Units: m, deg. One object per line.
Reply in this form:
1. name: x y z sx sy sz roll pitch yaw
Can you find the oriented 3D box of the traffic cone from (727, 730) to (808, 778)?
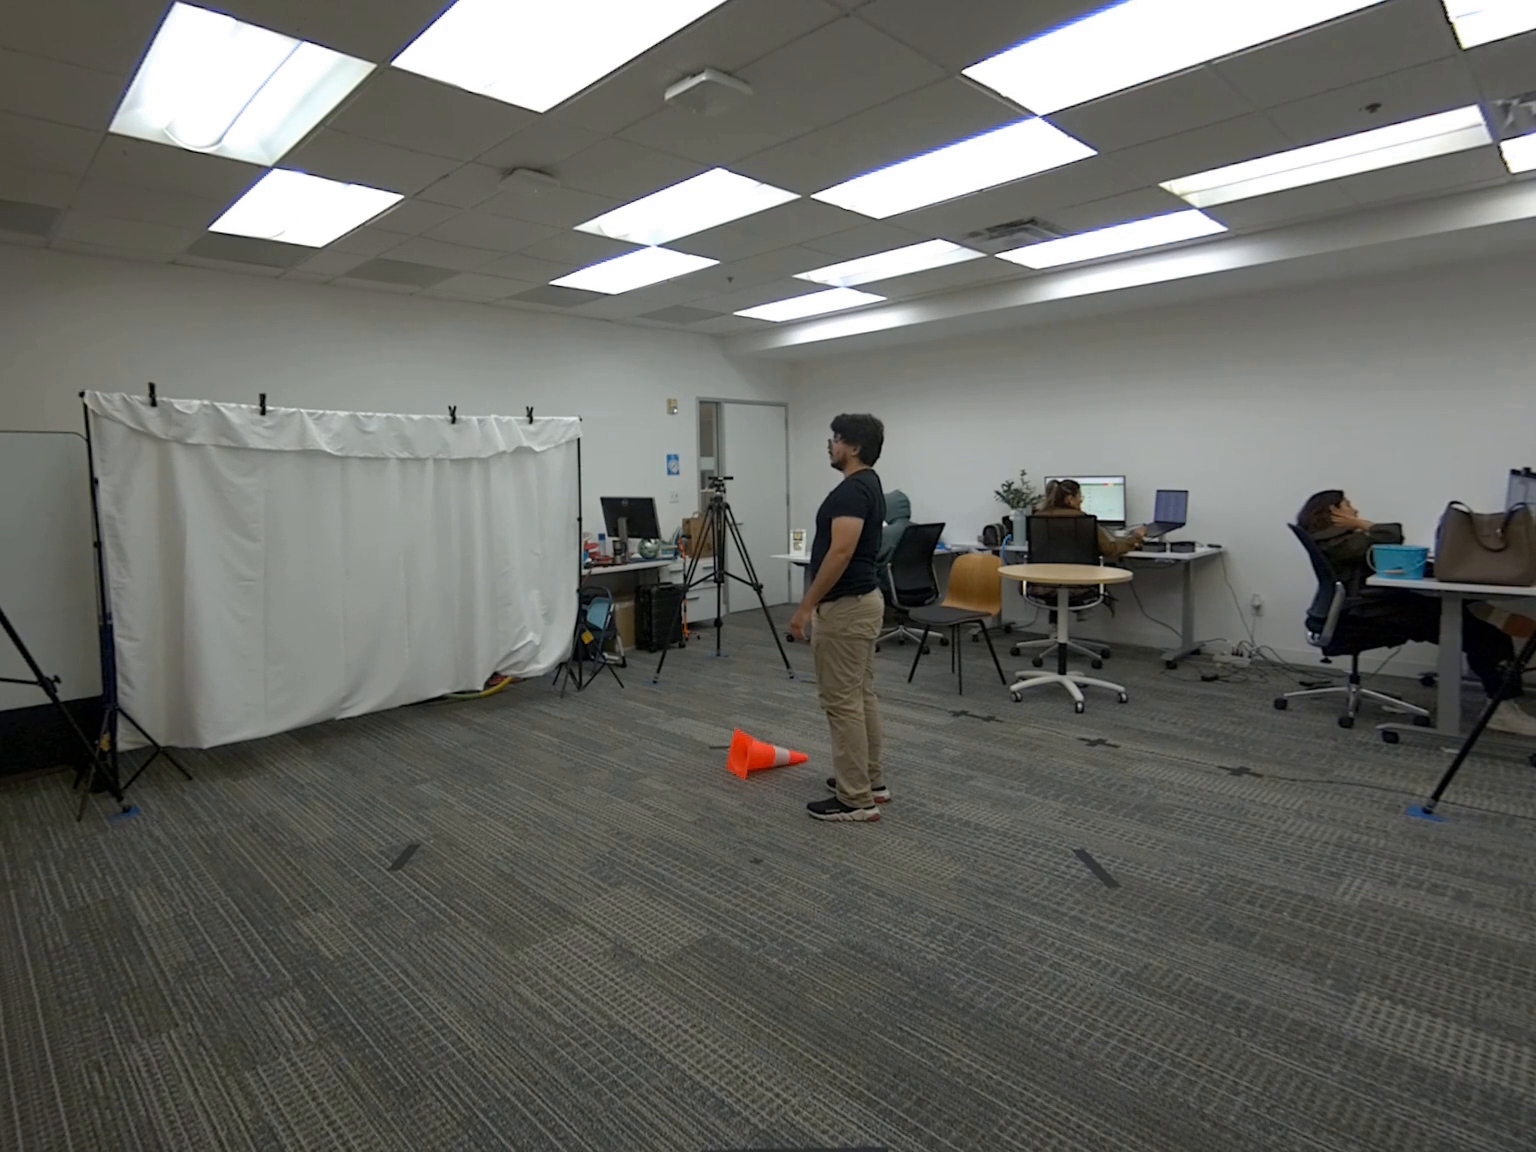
1. traffic cone: 0.028 0.873 4.122 0.374 0.204 0.210 12 -2 -25
